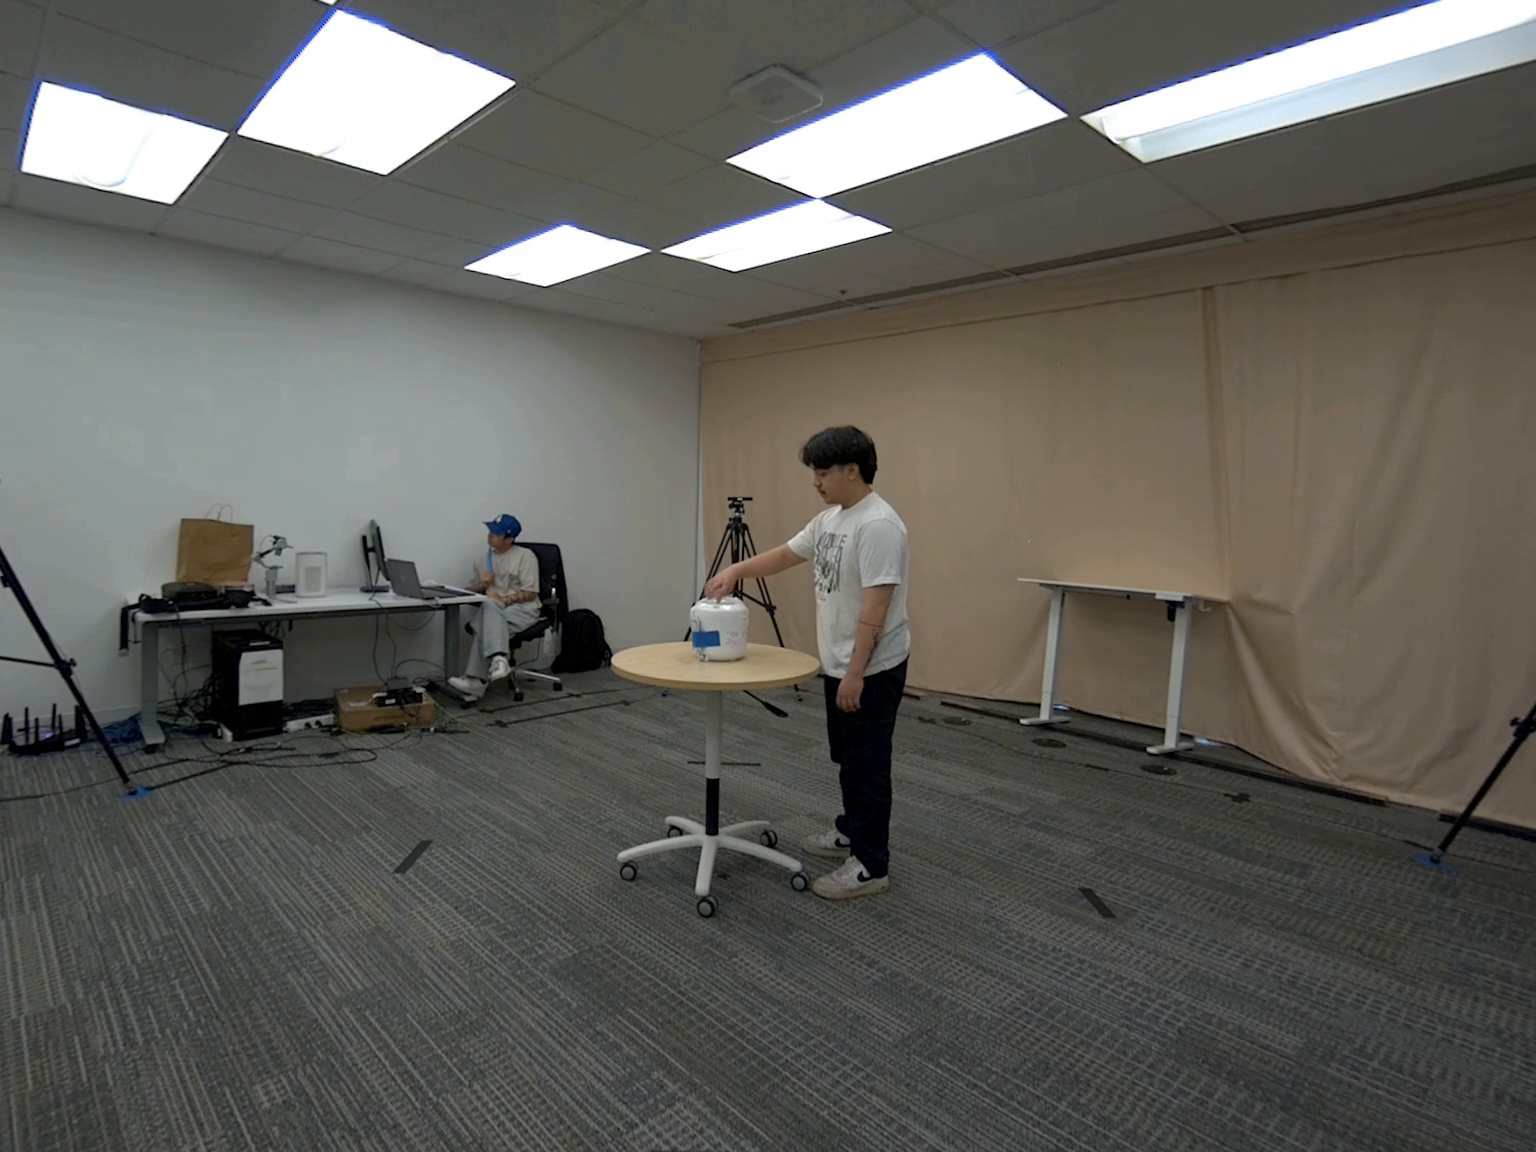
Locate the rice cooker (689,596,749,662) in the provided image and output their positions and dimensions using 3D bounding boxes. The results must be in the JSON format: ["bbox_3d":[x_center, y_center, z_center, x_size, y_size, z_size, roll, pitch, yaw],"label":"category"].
[{"bbox_3d":[-0.189,0.188,3.149,0.220,0.232,0.219,2,4,-5],"label":"rice cooker"}]
